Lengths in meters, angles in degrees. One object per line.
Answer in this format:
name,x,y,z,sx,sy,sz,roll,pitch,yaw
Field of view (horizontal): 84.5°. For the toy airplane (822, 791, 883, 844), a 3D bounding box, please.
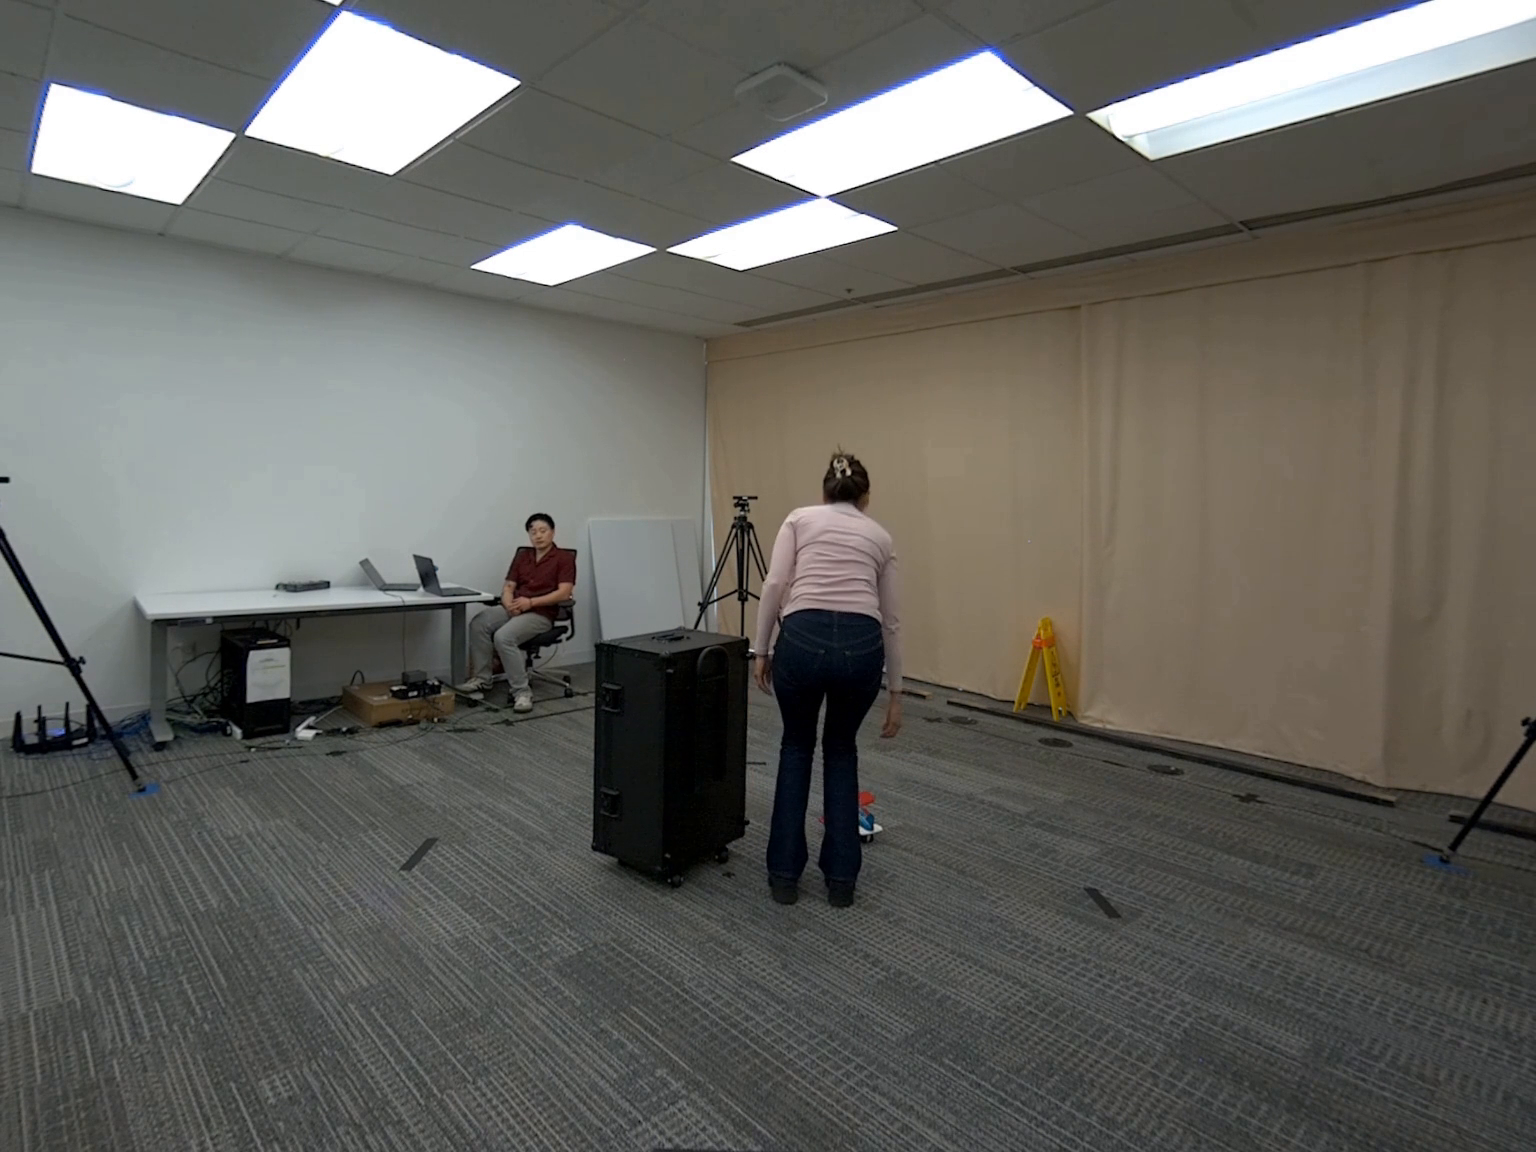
toy airplane,0.361,1.011,3.521,0.264,0.156,0.246,1,5,29
